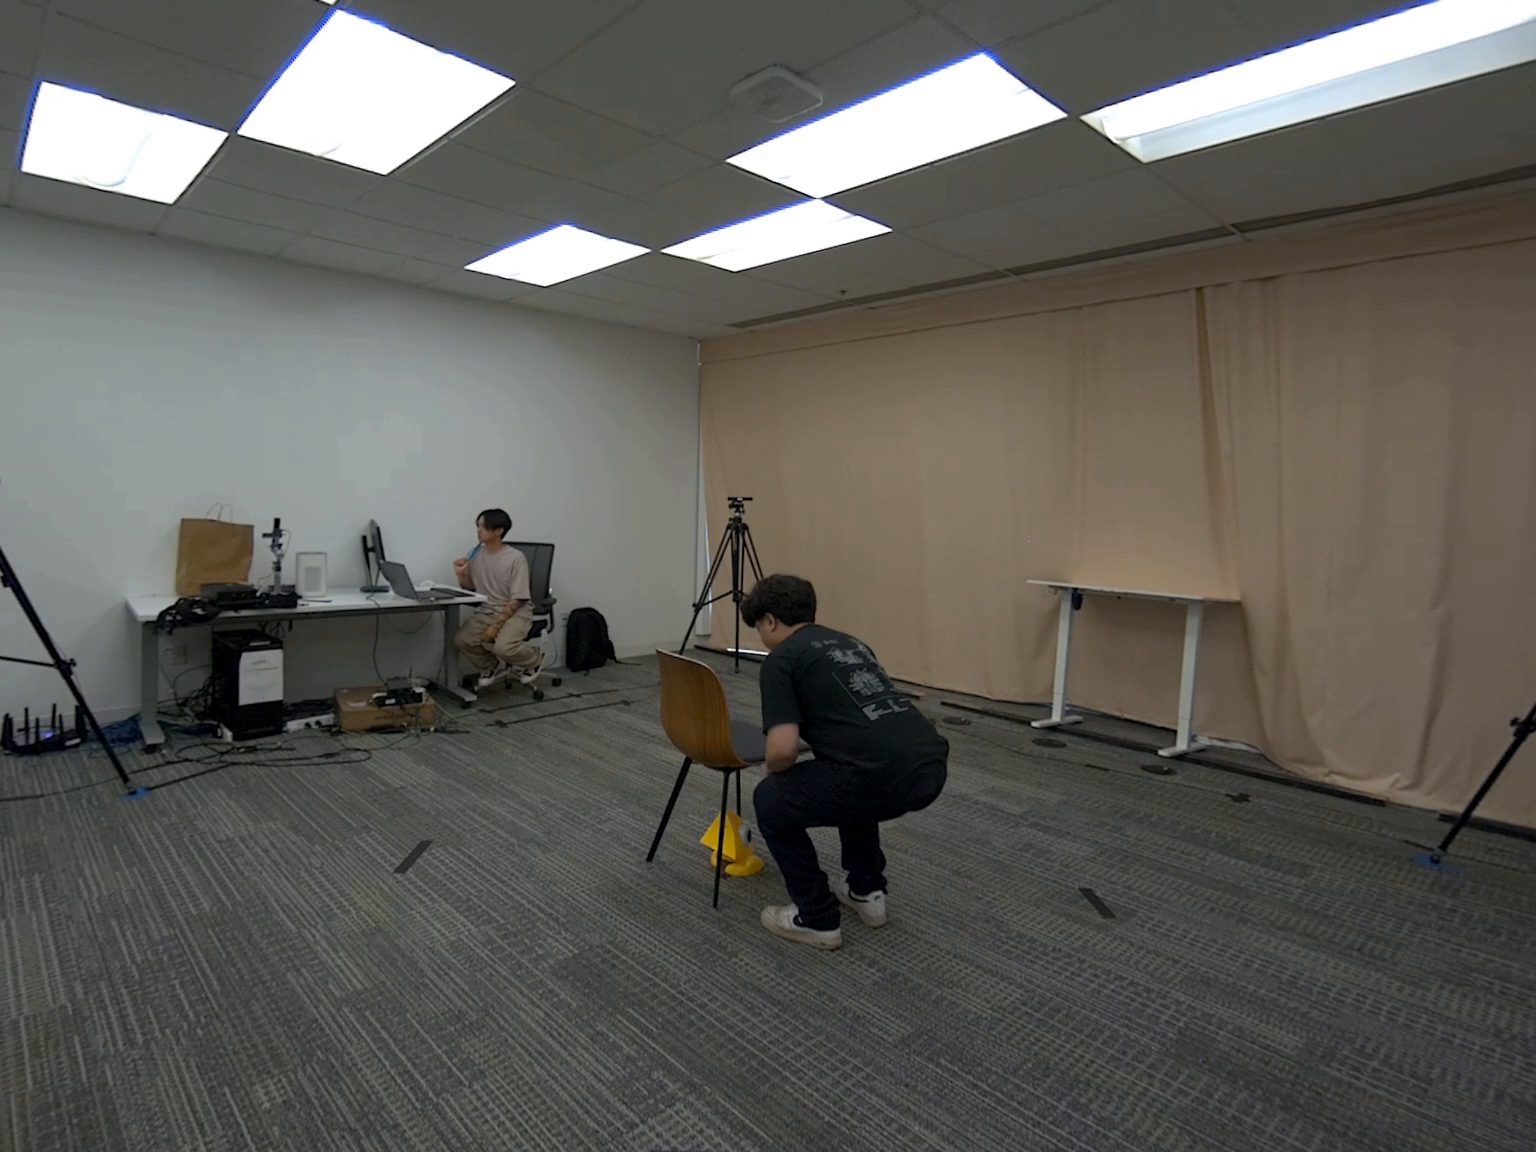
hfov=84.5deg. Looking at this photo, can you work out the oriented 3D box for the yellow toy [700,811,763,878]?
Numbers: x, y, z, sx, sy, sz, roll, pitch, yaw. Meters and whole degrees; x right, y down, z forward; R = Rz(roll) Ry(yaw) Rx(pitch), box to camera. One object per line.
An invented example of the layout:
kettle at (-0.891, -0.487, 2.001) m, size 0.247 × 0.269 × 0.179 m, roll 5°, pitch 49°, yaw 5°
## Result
yellow toy at (-0.132, 0.989, 3.199) m, size 0.188 × 0.230 × 0.210 m, roll -2°, pitch 5°, yaw -42°
